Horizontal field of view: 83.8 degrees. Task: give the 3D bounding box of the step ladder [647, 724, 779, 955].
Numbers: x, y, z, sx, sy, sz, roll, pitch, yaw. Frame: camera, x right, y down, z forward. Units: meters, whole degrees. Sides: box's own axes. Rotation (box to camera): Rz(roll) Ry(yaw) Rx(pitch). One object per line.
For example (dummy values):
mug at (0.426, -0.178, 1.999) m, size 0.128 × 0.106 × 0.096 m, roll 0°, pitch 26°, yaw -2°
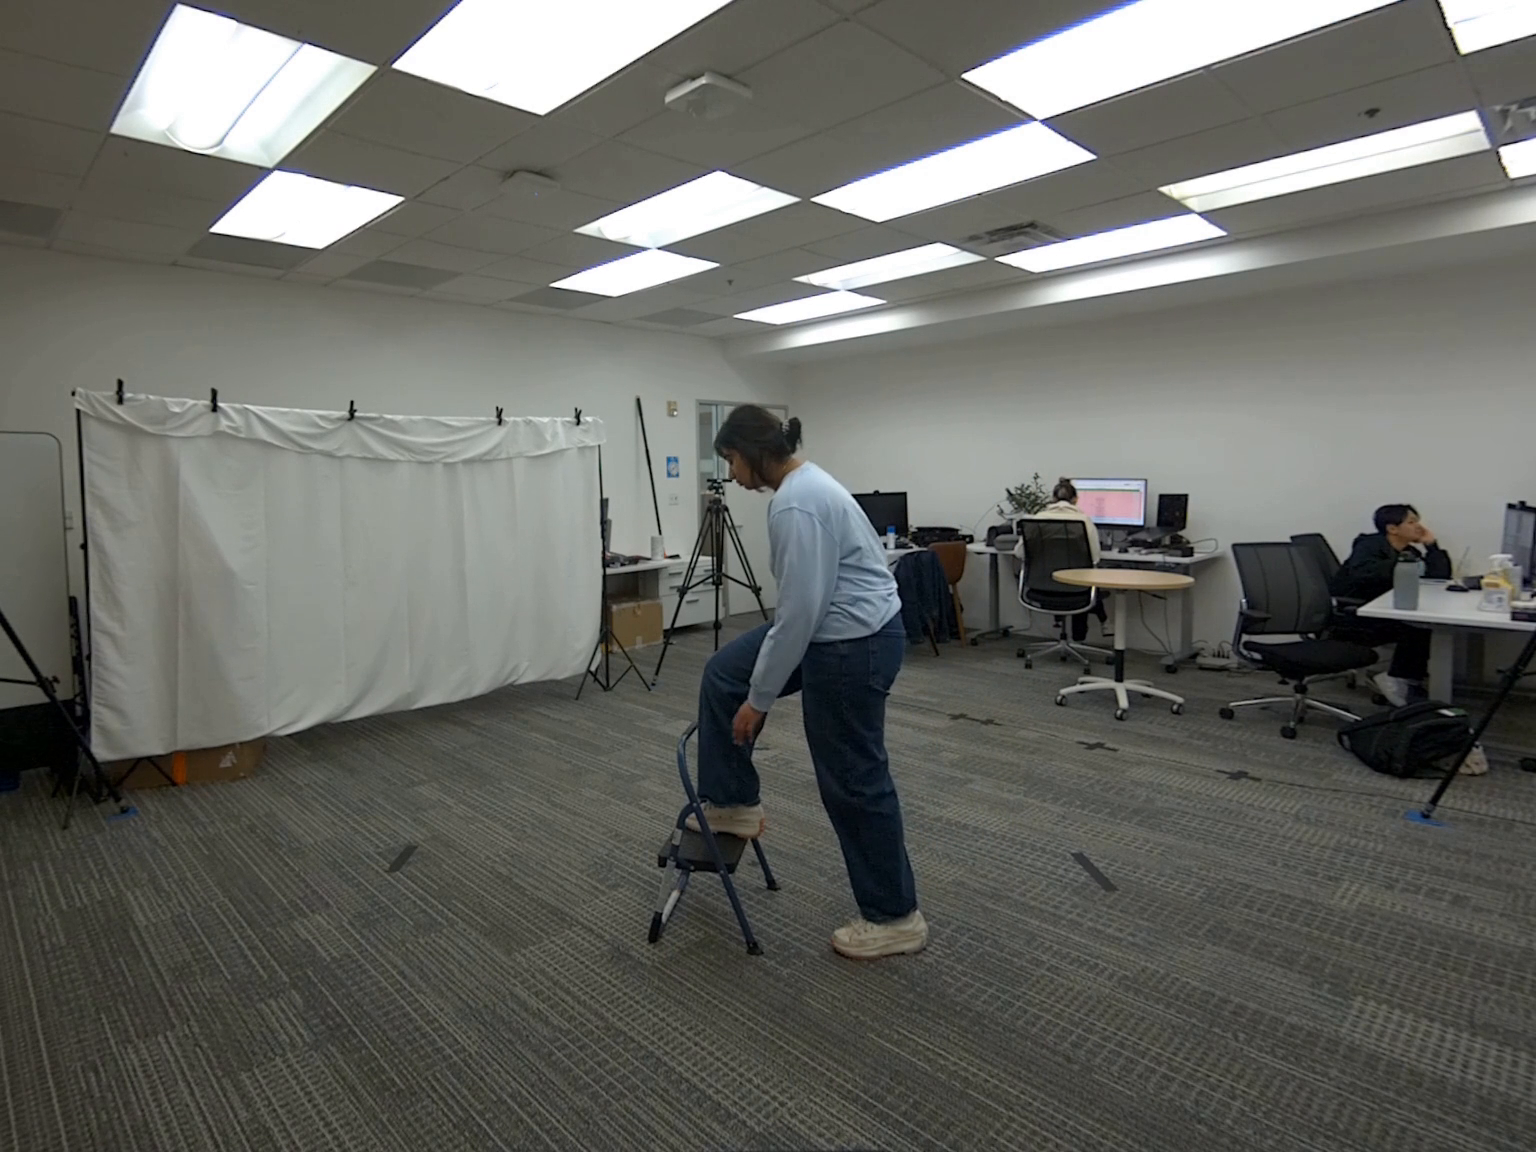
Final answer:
step ladder at (-0.170, 0.792, 2.737) m, size 0.353 × 0.604 × 0.428 m, roll 0°, pitch 4°, yaw 10°
